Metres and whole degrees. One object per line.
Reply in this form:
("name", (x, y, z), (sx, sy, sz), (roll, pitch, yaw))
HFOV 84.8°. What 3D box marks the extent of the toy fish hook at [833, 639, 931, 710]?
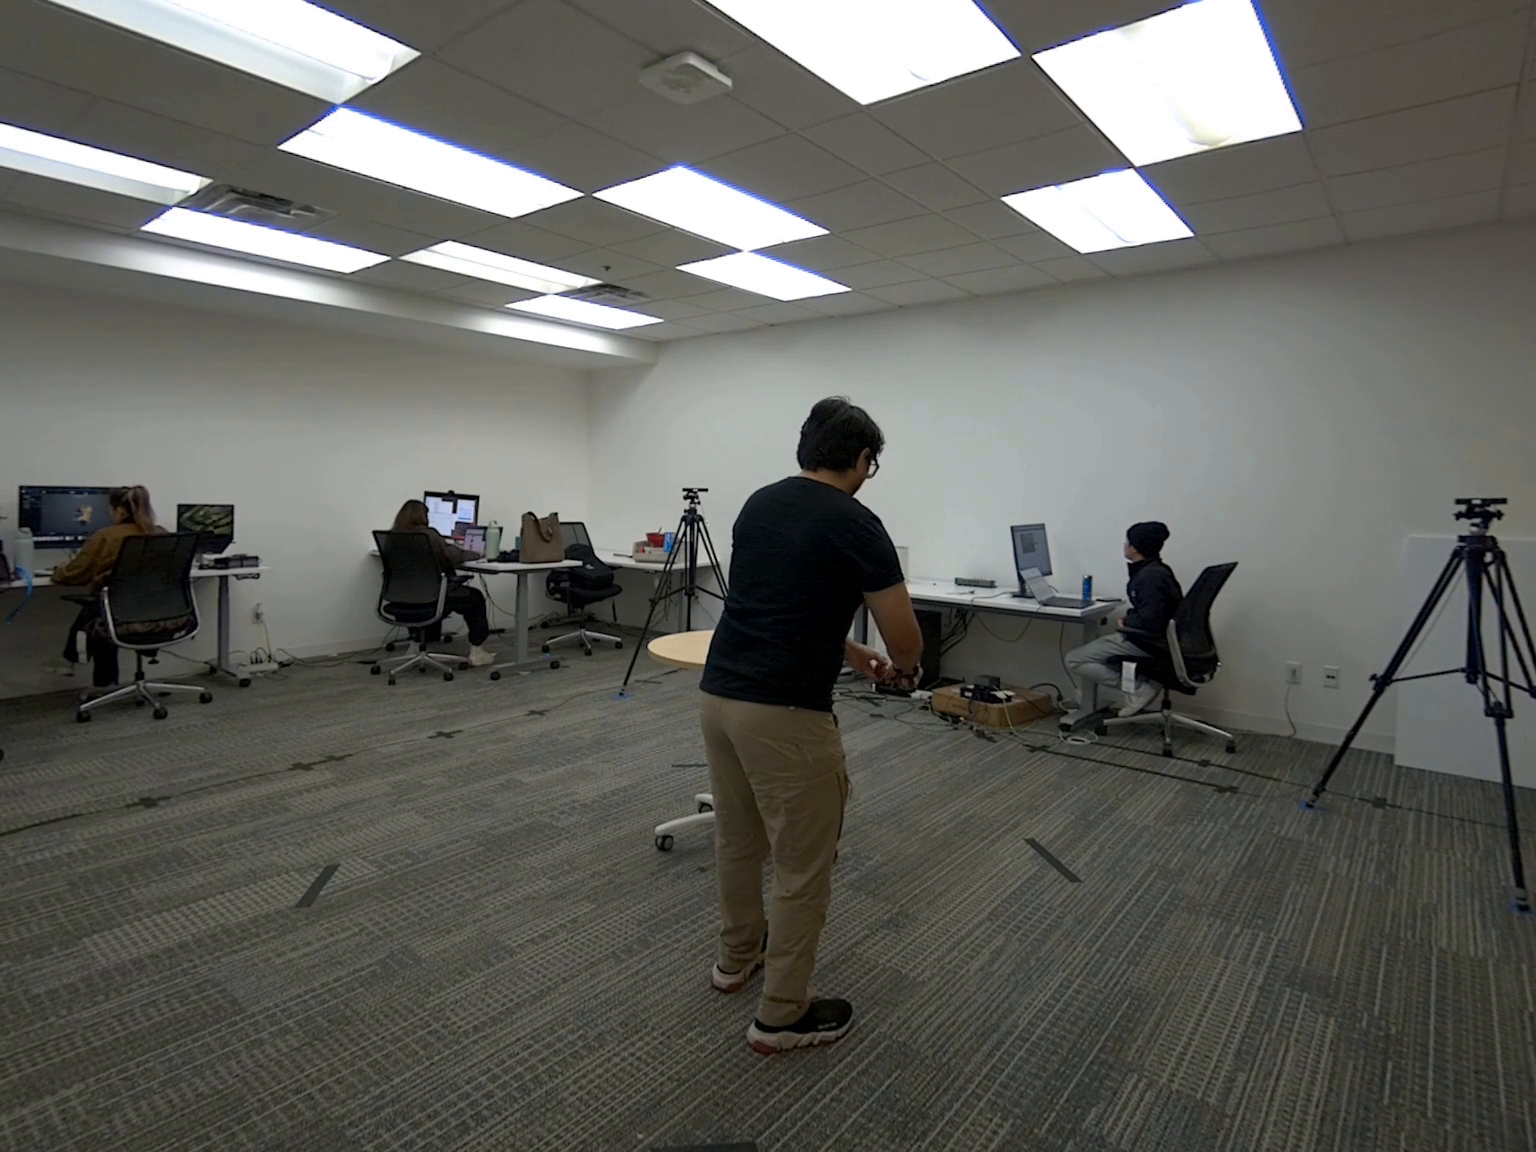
("toy fish hook", (0.266, 0.281, 2.494), (0.223, 0.048, 0.513), (-23, 7, -12))
